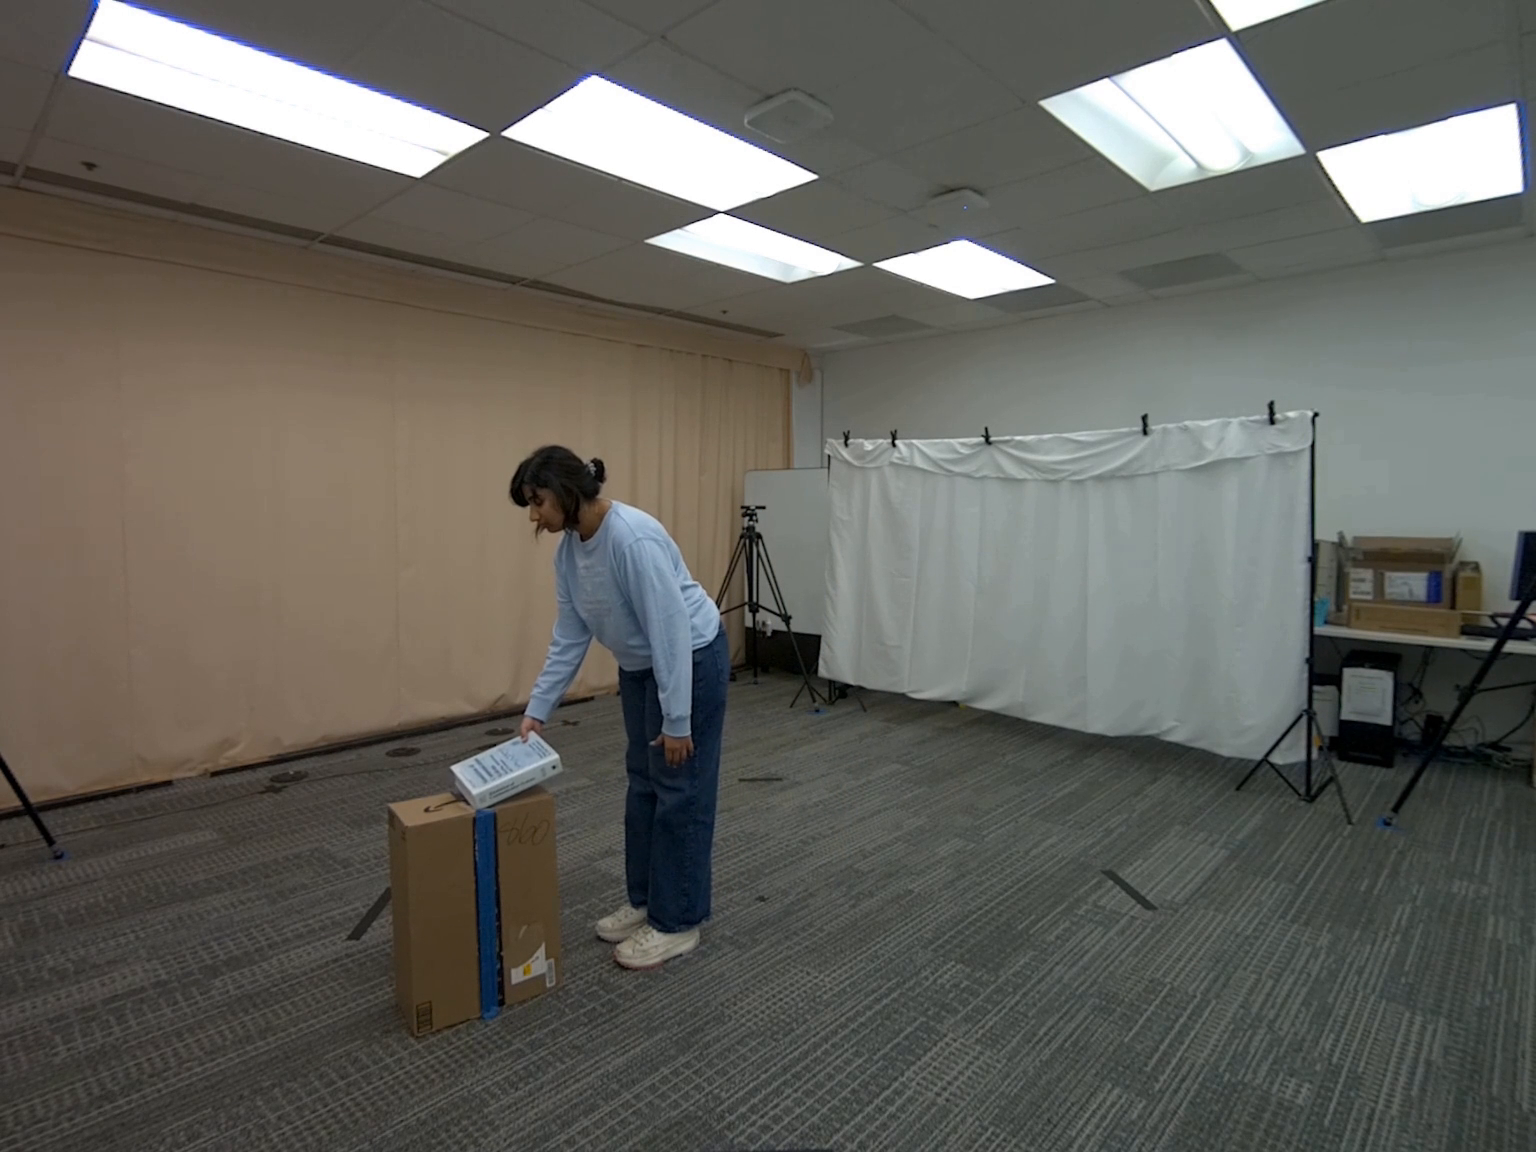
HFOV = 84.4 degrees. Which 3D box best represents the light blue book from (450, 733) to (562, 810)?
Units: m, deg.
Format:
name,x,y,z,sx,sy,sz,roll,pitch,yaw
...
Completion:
name,x,y,z,sx,sy,sz,roll,pitch,yaw
light blue book,-0.757,0.561,2.423,0.256,0.058,0.198,-19,21,-28
